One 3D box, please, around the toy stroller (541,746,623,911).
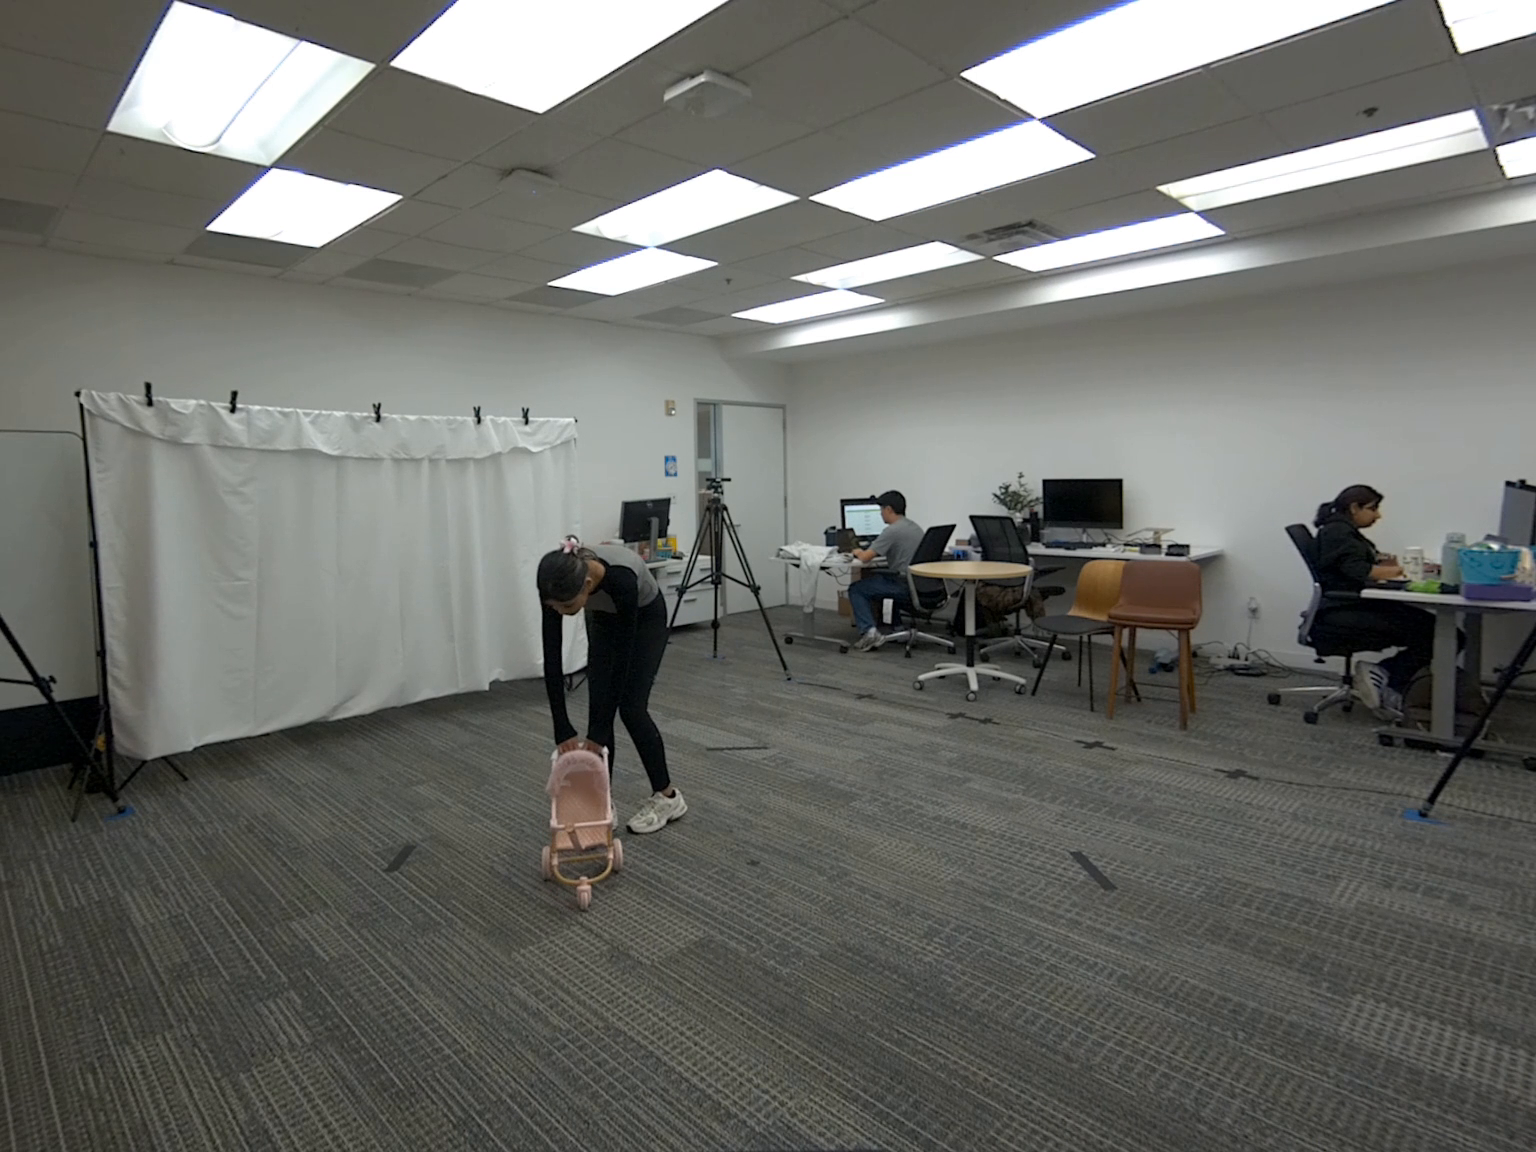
[{"bbox_3d":[-0.651,0.850,2.968,0.279,0.541,0.340,-3,-12,-8],"label":"toy stroller"}]
